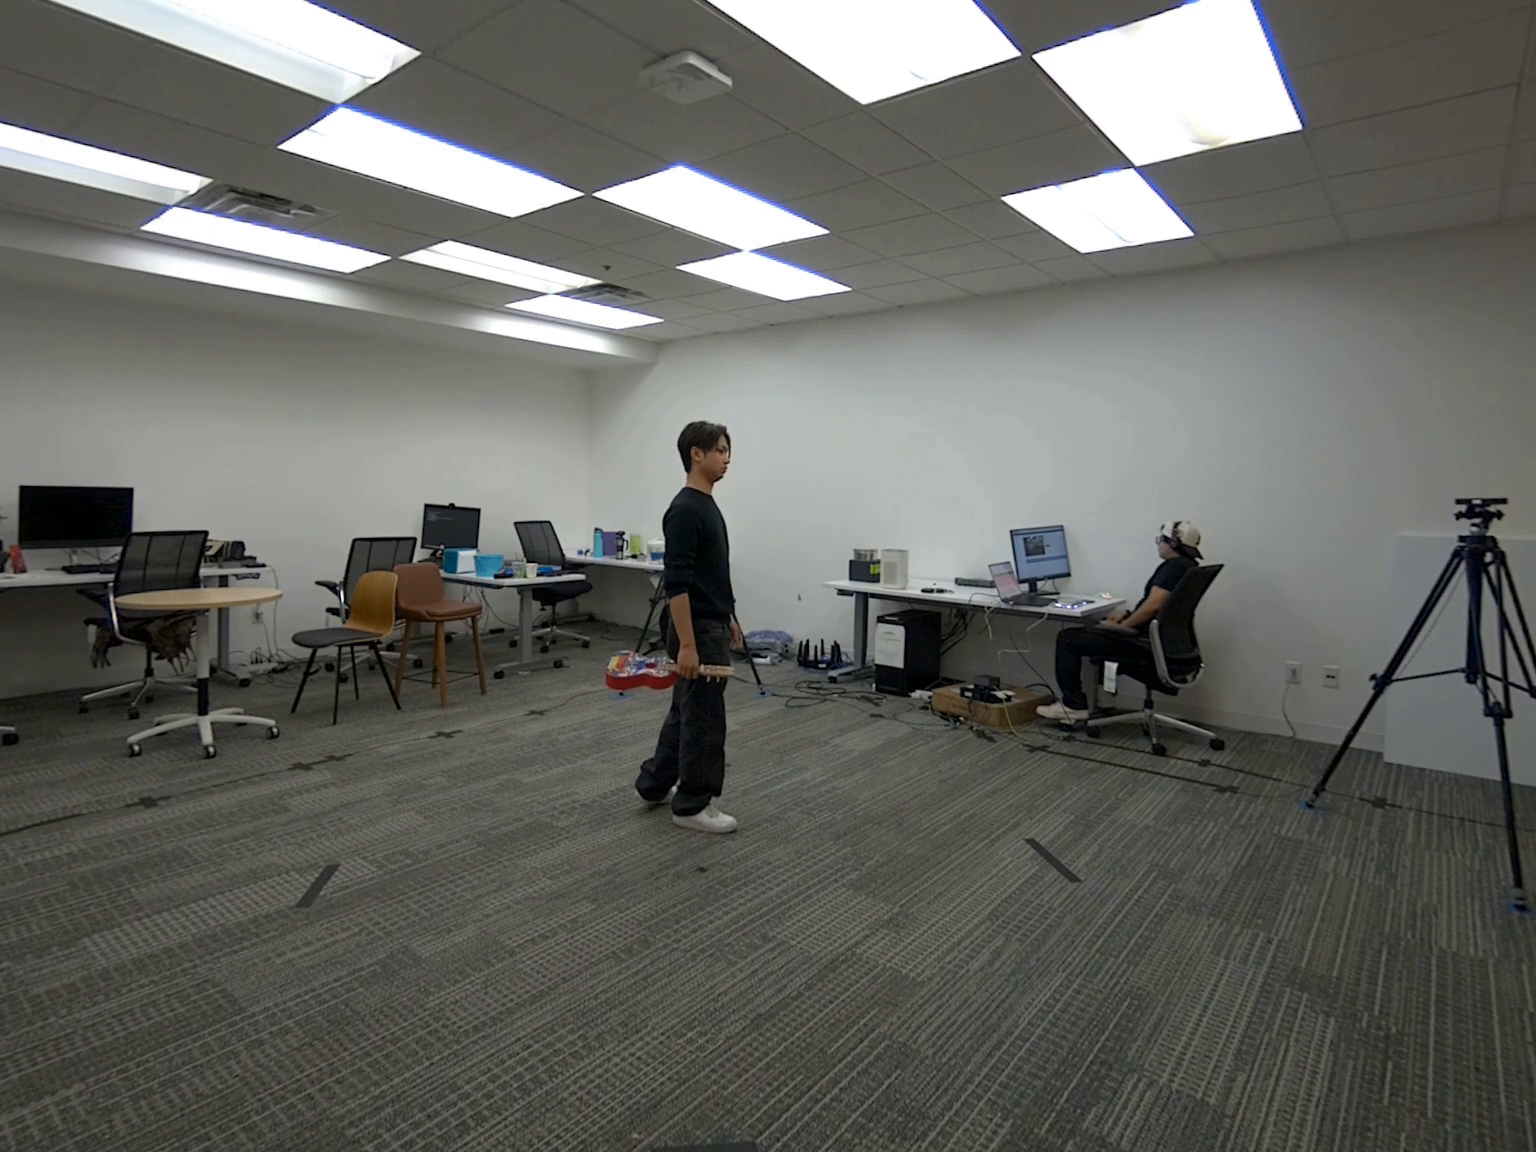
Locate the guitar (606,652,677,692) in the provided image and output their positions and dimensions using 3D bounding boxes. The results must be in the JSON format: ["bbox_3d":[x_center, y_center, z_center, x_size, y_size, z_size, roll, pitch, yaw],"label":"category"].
[{"bbox_3d":[-0.390,0.380,3.262,0.505,0.069,0.194,7,23,12],"label":"guitar"}]
